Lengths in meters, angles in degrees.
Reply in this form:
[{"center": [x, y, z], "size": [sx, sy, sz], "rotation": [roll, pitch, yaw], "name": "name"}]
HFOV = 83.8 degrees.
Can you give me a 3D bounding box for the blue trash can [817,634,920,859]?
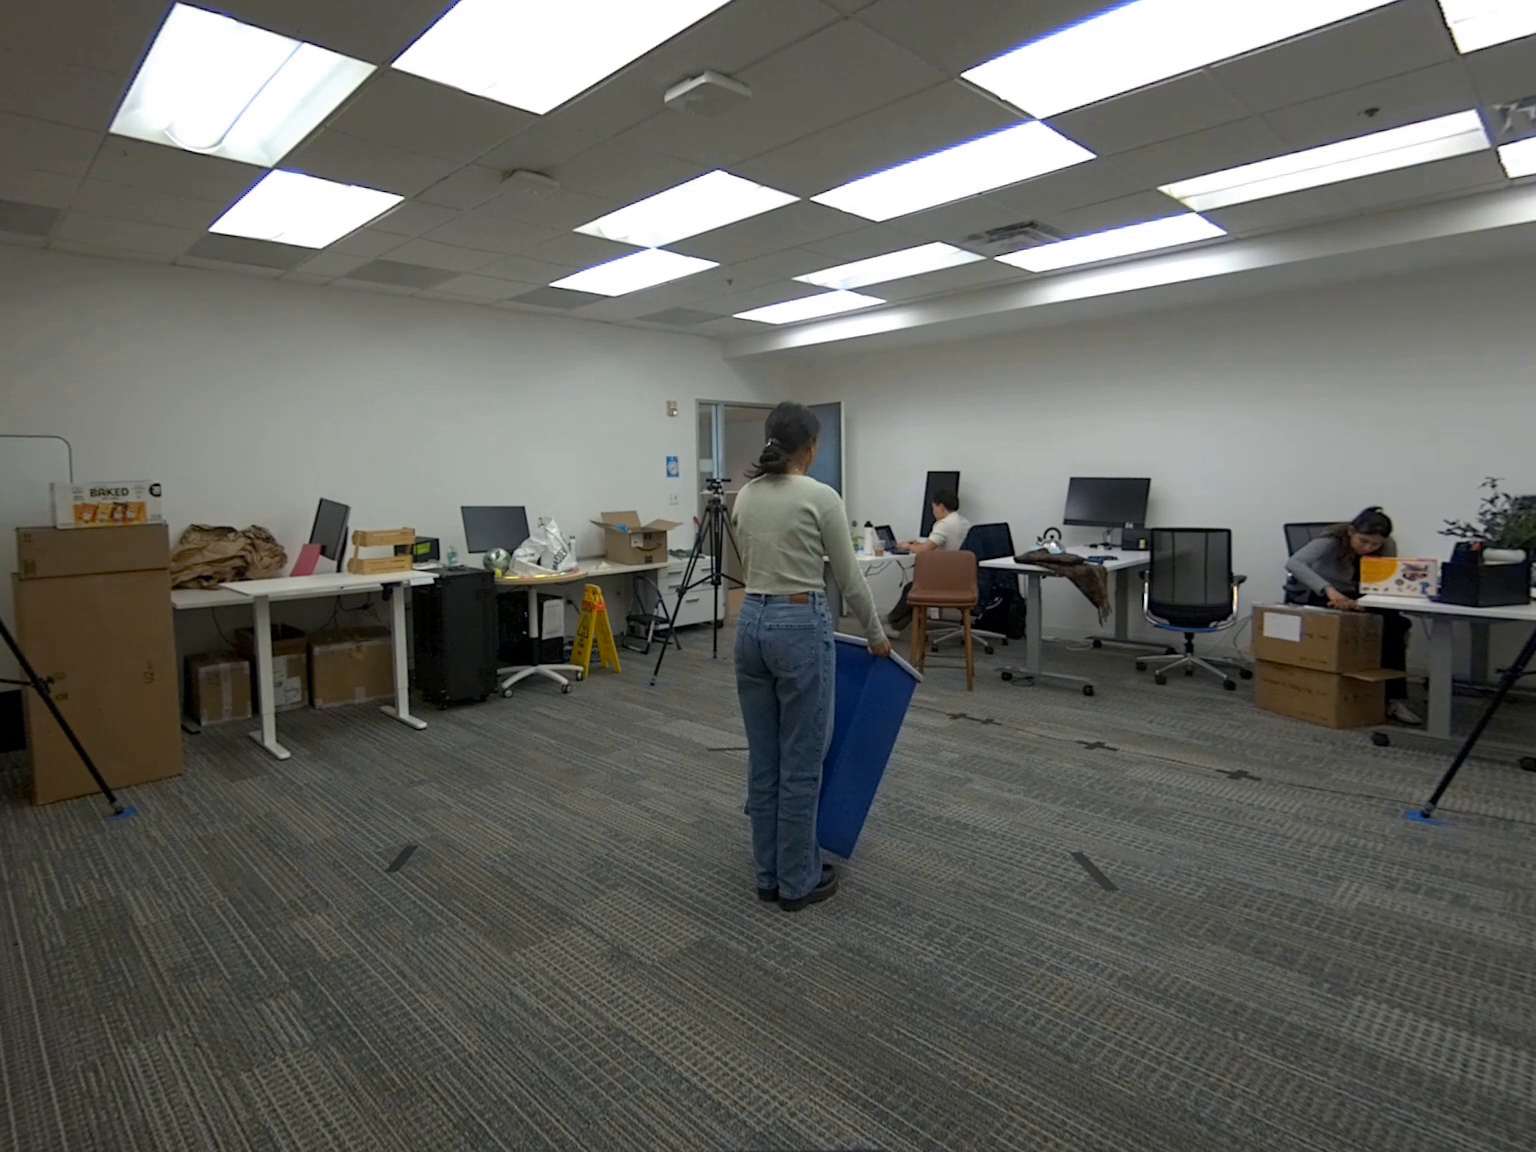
[{"center": [0.240, 0.603, 3.130], "size": [0.390, 0.719, 0.359], "rotation": [8, -20, 39], "name": "blue trash can"}]
